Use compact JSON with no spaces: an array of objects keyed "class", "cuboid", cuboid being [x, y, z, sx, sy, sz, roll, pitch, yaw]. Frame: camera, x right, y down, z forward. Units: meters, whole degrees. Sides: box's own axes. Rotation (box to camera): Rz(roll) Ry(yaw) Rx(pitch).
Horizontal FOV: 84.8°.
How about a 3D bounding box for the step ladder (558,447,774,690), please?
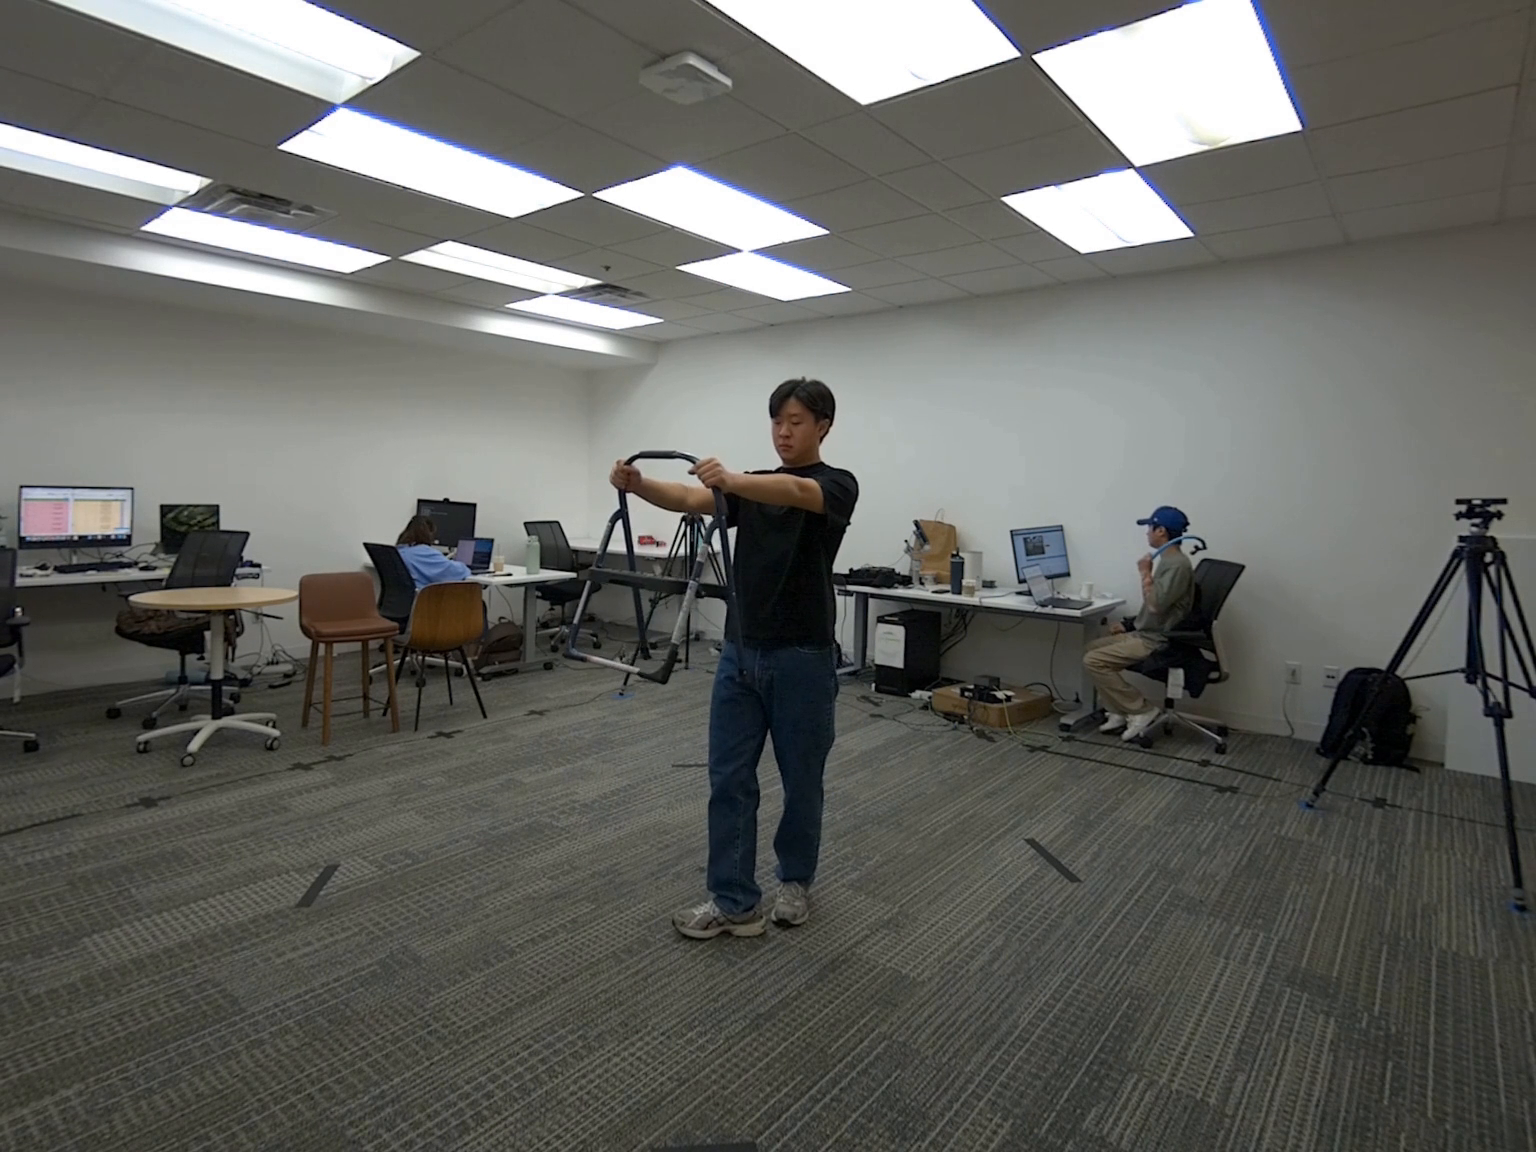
[{"class":"step ladder","cuboid":[-0.292,-0.038,2.392,0.445,0.605,0.338,7,2,38]}]
